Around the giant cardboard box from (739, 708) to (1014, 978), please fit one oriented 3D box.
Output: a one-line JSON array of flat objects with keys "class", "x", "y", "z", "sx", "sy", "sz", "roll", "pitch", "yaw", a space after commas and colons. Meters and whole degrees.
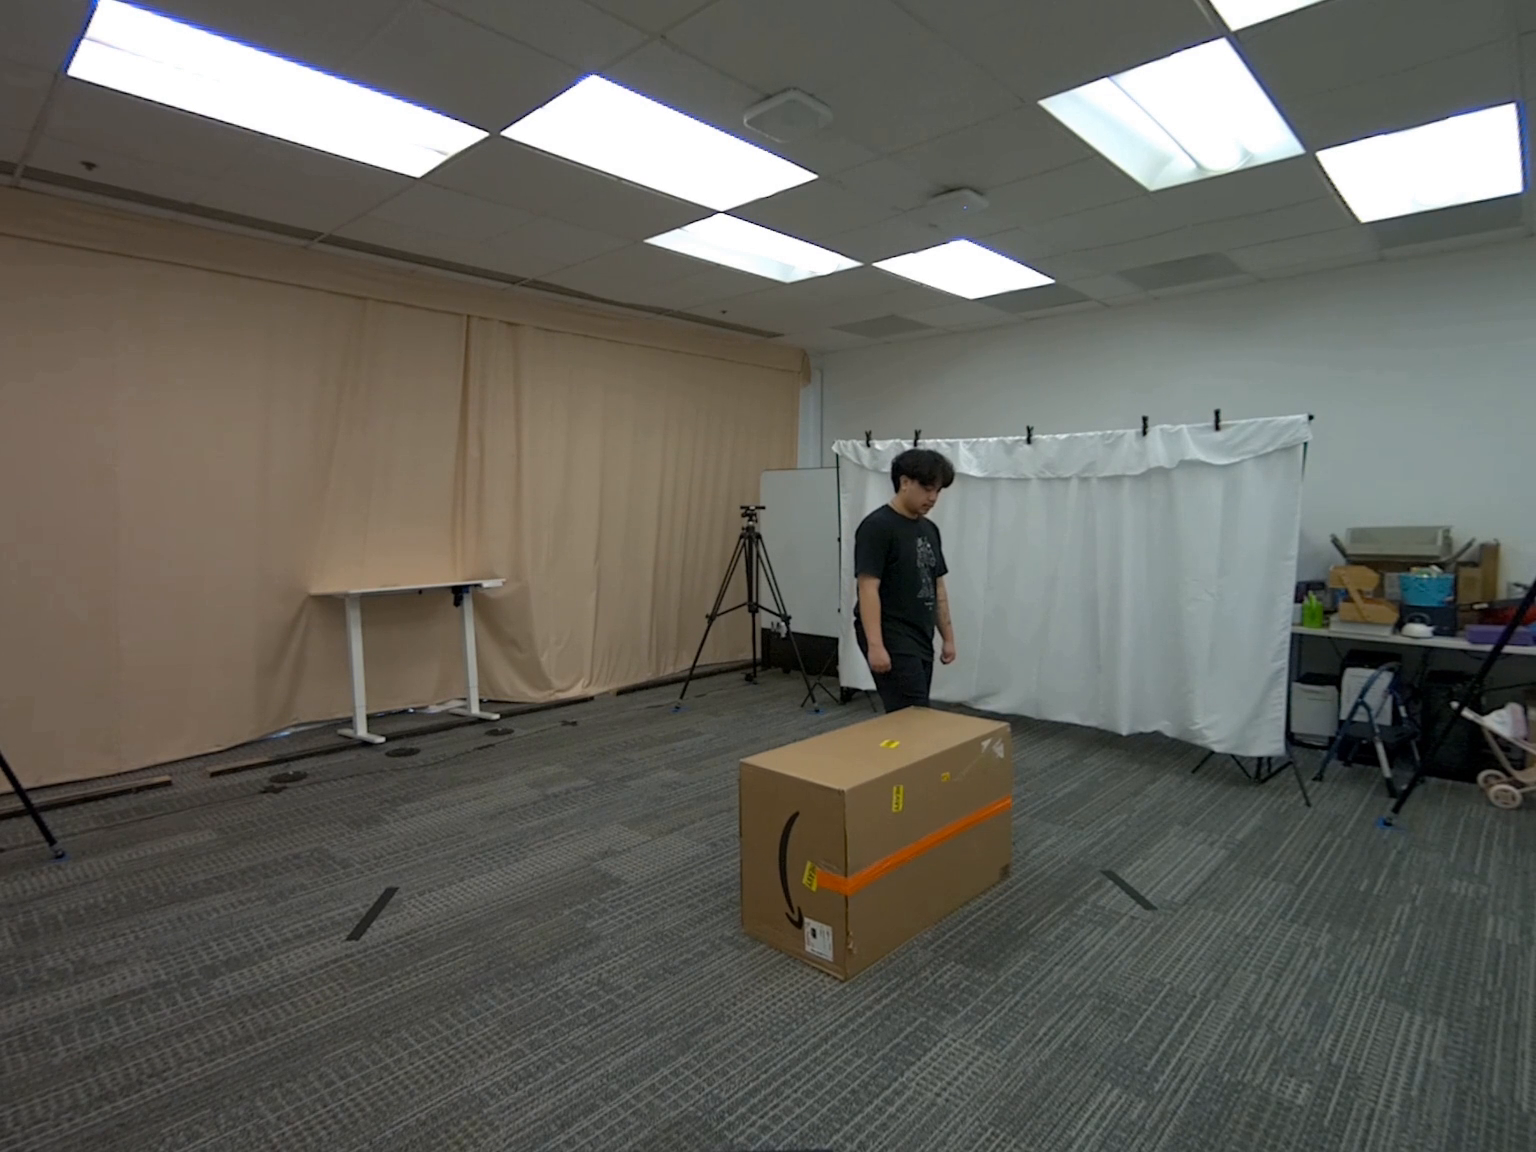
[{"class": "giant cardboard box", "x": 0.406, "y": 0.862, "z": 2.932, "sx": 0.462, "sy": 0.582, "sz": 0.996, "roll": 5, "pitch": 7, "yaw": 43}]
